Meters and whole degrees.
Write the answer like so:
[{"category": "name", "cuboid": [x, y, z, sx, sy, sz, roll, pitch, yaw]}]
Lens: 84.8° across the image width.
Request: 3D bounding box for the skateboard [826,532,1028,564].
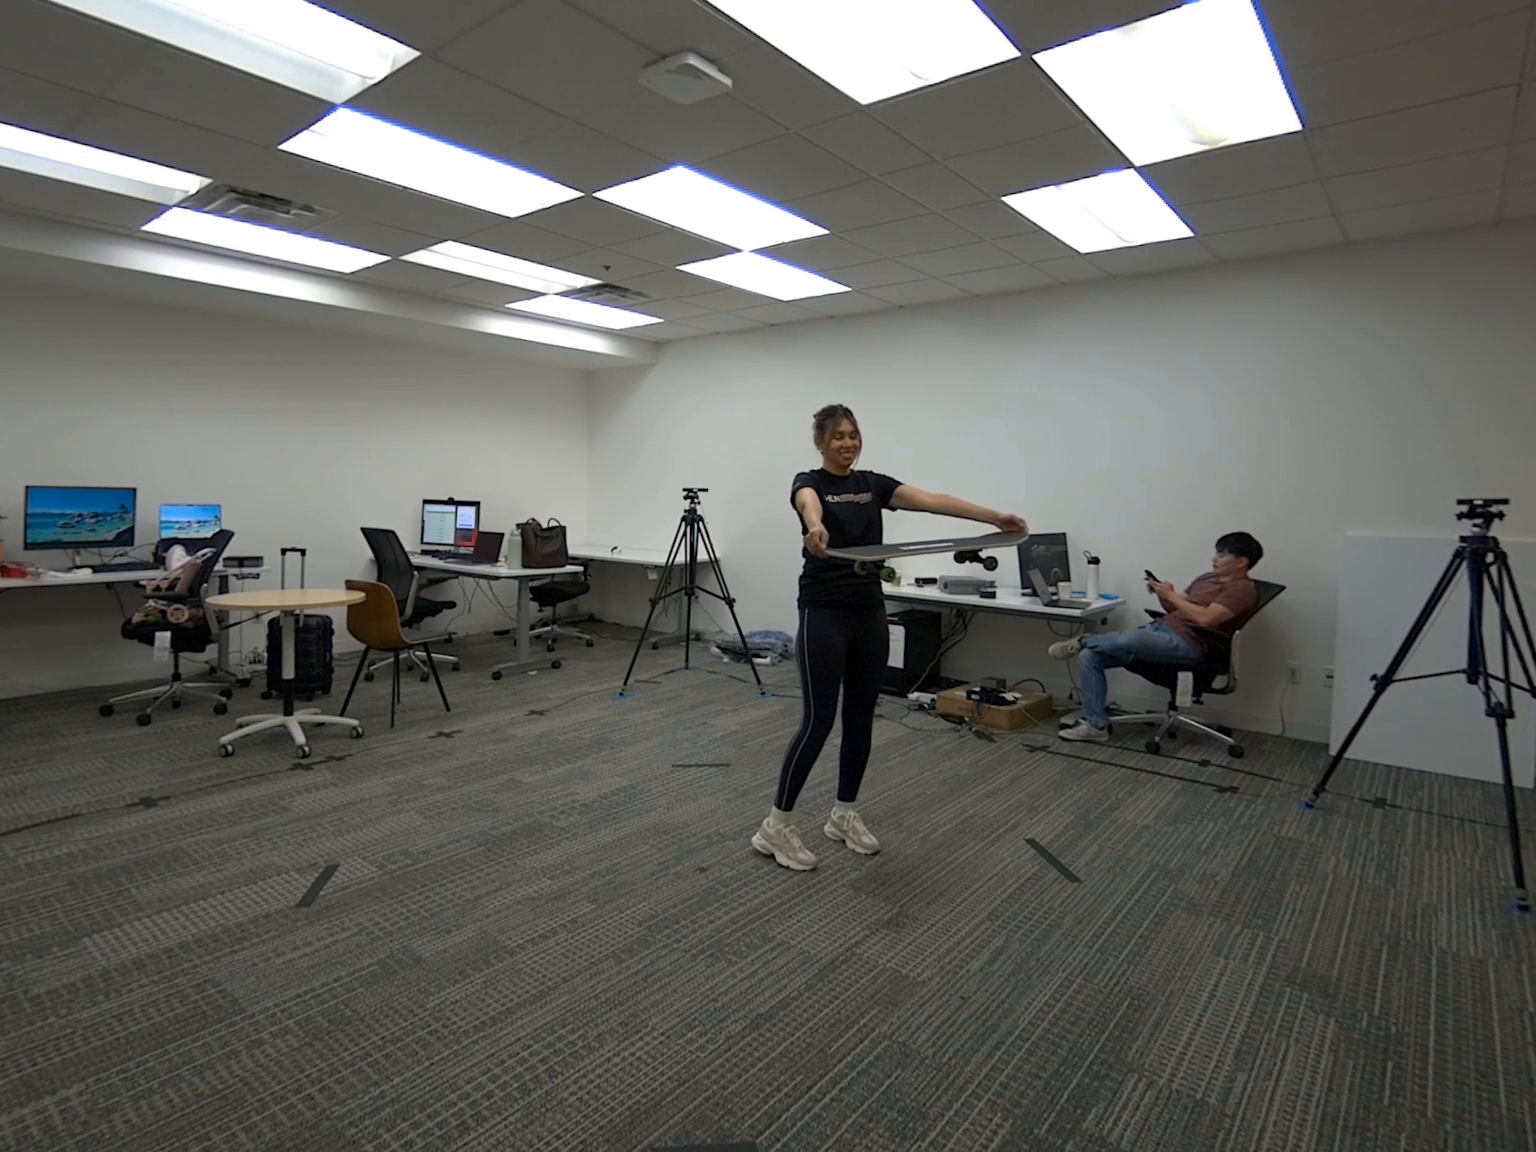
[{"category": "skateboard", "cuboid": [0.509, -0.070, 2.826, 0.771, 0.109, 0.199, -4, 12, -18]}]
